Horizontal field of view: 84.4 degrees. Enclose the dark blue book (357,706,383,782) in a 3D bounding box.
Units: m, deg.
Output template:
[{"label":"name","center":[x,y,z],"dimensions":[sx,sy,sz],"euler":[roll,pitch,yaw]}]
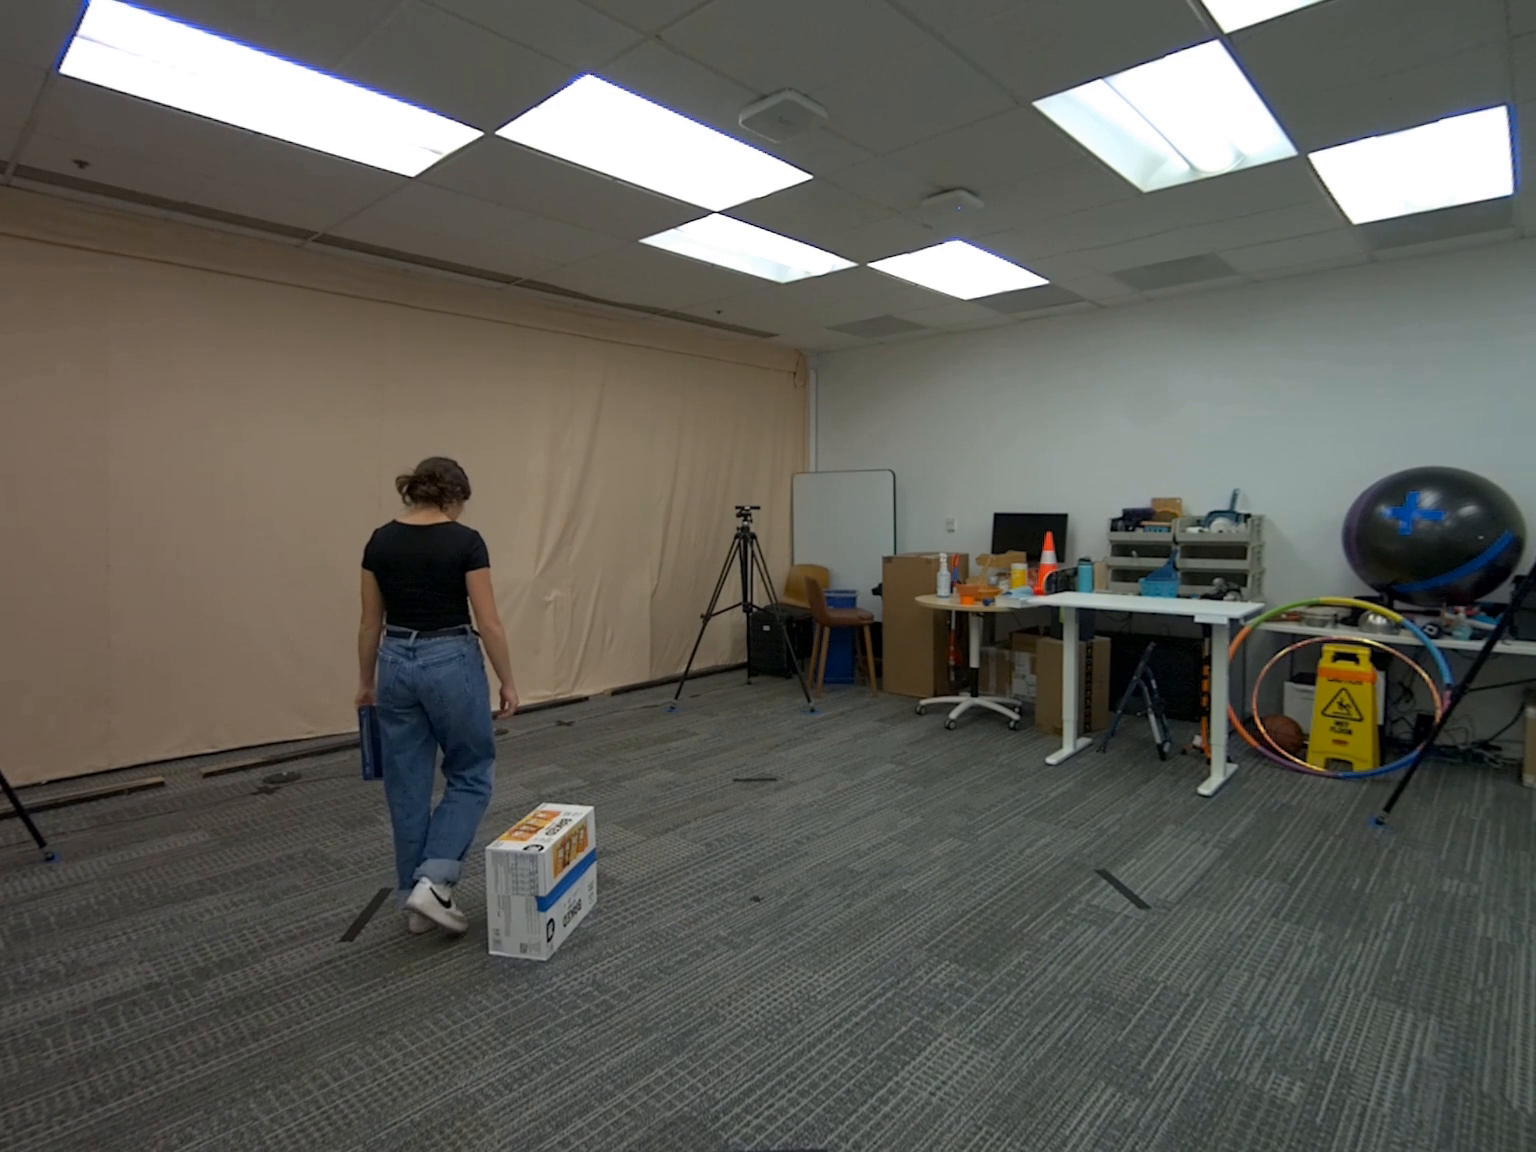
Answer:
[{"label":"dark blue book","center":[-1.341,0.575,2.878],"dimensions":[0.045,0.248,0.161],"euler":[-12,-12,1]}]
